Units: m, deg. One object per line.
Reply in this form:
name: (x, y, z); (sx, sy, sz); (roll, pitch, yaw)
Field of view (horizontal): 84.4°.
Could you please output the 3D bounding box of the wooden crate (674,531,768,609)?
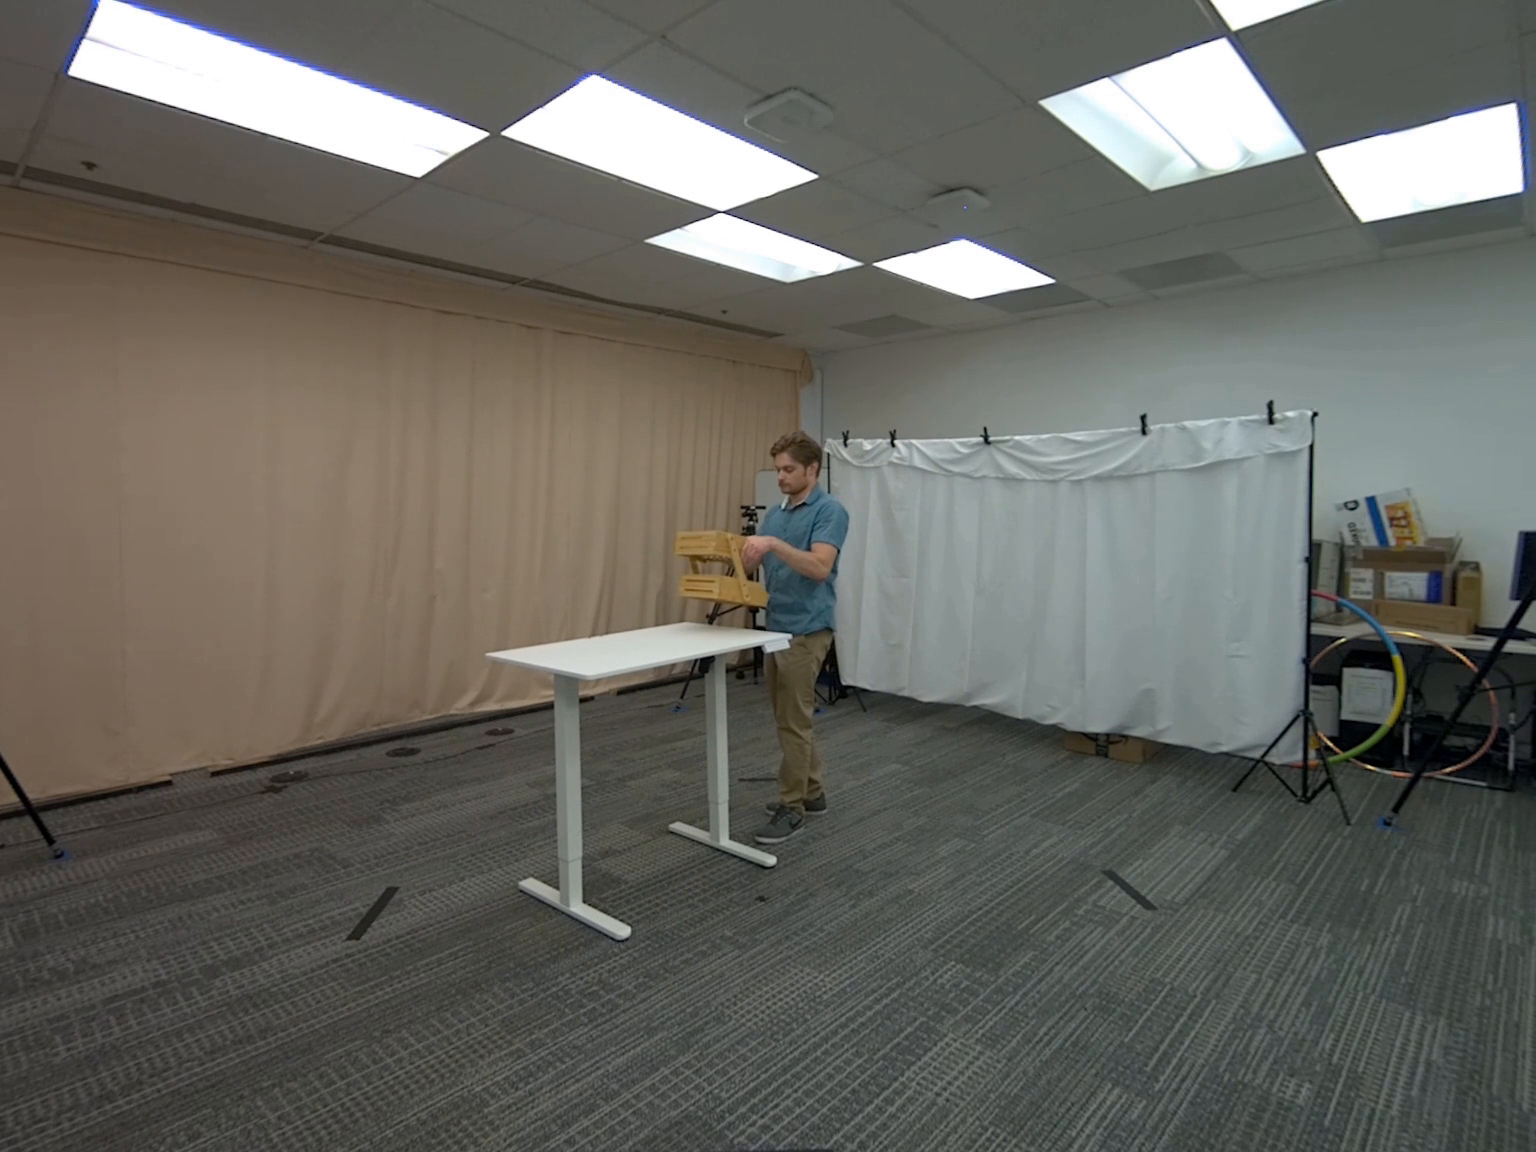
wooden crate: (-0.185, -0.029, 3.459); (0.292, 0.274, 0.334); (10, -6, -36)
